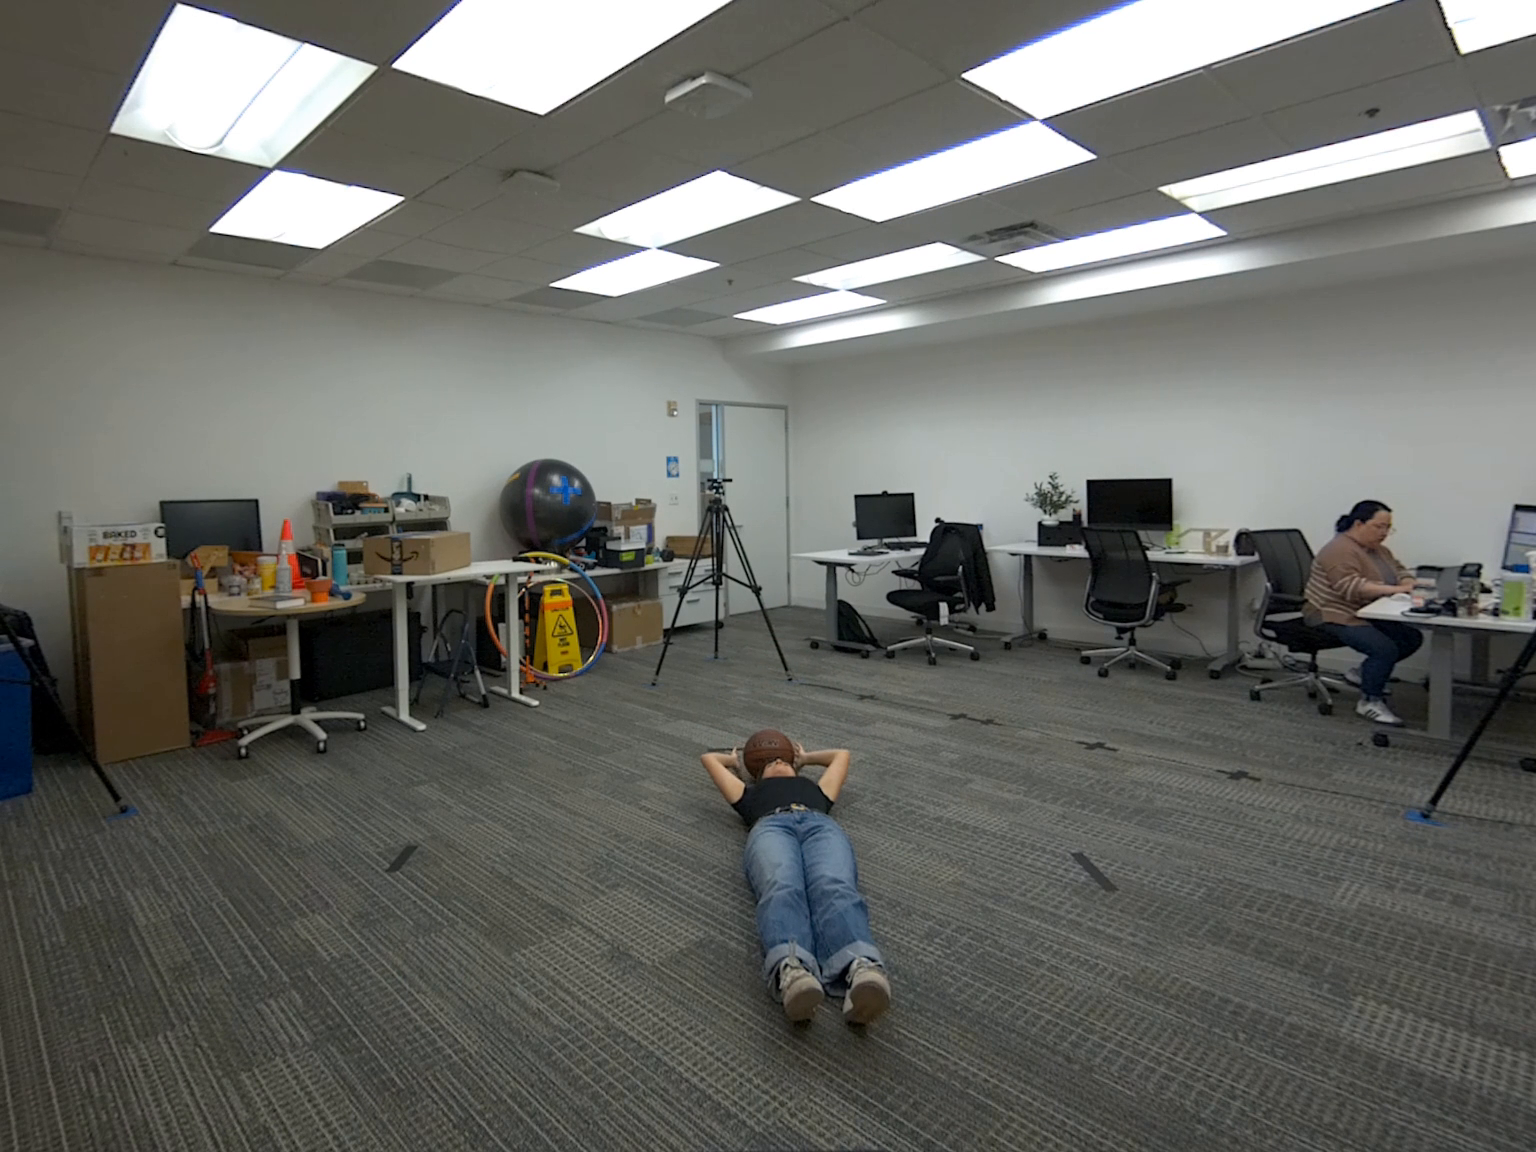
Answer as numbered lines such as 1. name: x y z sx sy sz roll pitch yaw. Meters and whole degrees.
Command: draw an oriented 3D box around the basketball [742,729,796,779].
1. basketball: 0.001 0.829 3.949 0.236 0.235 0.237 -1 5 -2
